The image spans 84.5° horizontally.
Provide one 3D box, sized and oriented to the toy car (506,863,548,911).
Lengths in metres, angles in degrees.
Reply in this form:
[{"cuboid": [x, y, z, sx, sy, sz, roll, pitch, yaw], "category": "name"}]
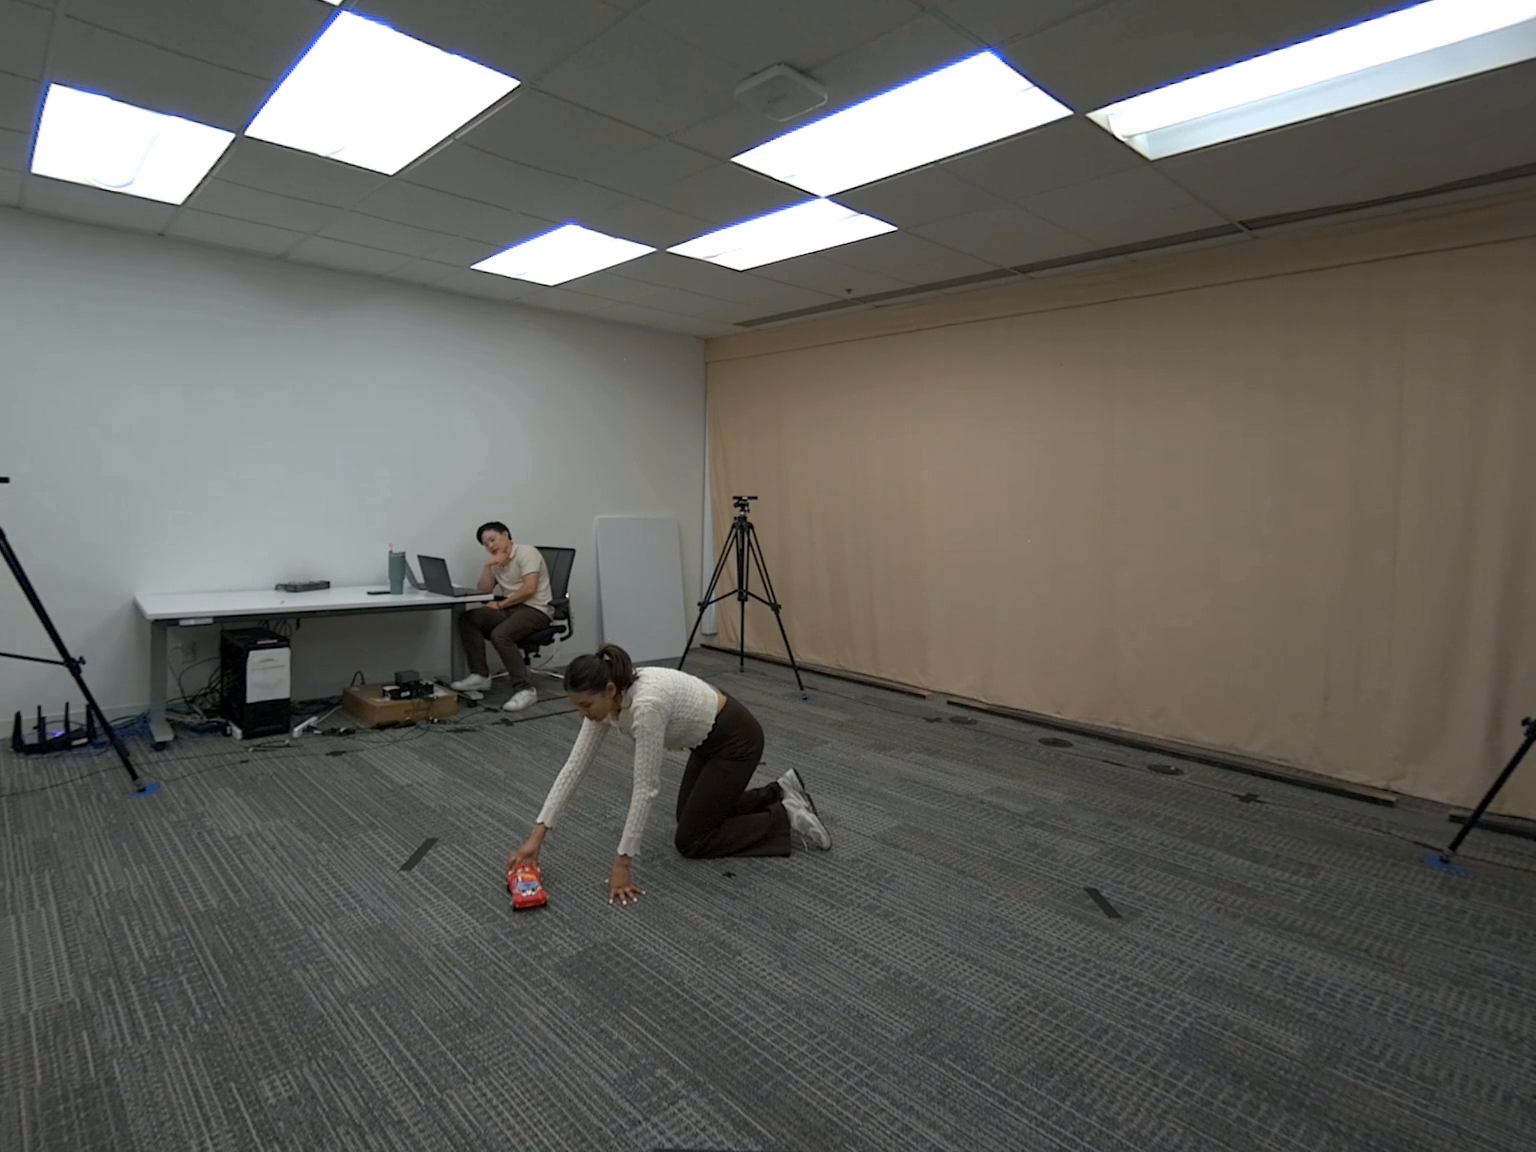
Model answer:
[{"cuboid": [-0.843, 1.075, 2.906, 0.128, 0.082, 0.261, 0, 15, -23], "category": "toy car"}]
